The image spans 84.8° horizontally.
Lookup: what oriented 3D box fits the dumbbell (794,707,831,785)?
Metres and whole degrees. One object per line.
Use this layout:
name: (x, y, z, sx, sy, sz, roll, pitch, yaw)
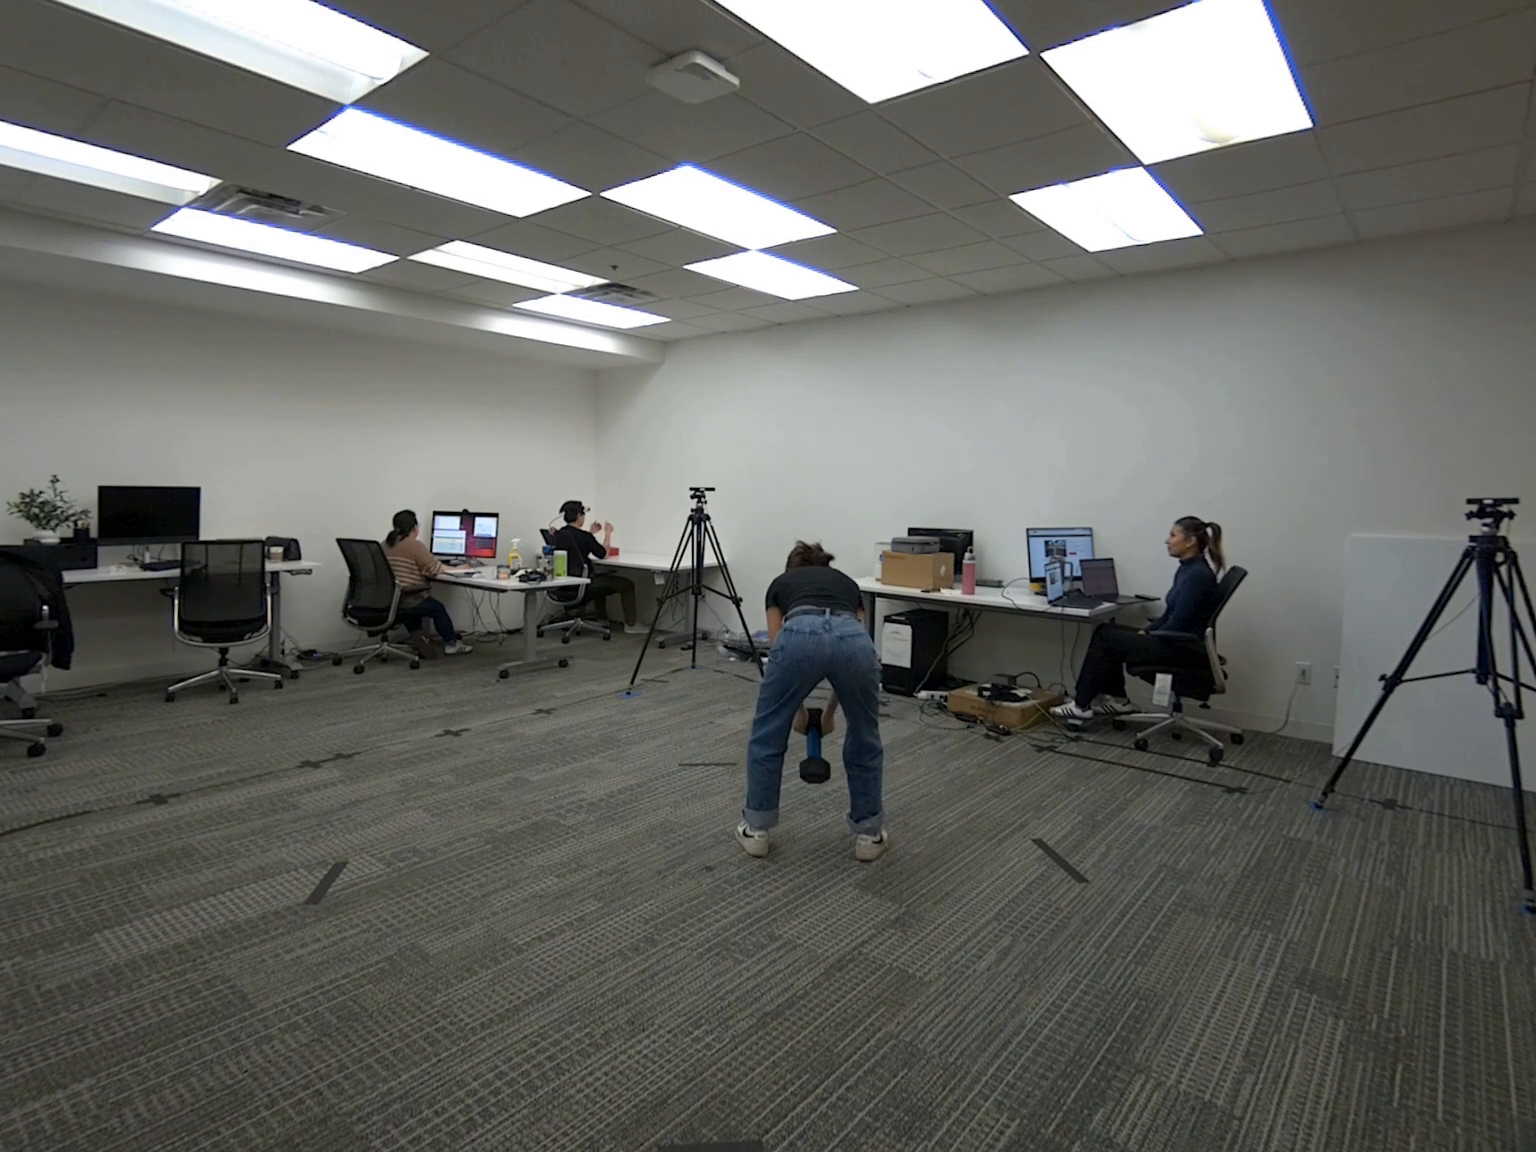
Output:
dumbbell: (0.176, 0.682, 3.445, 0.110, 0.301, 0.118, -19, -39, 25)
